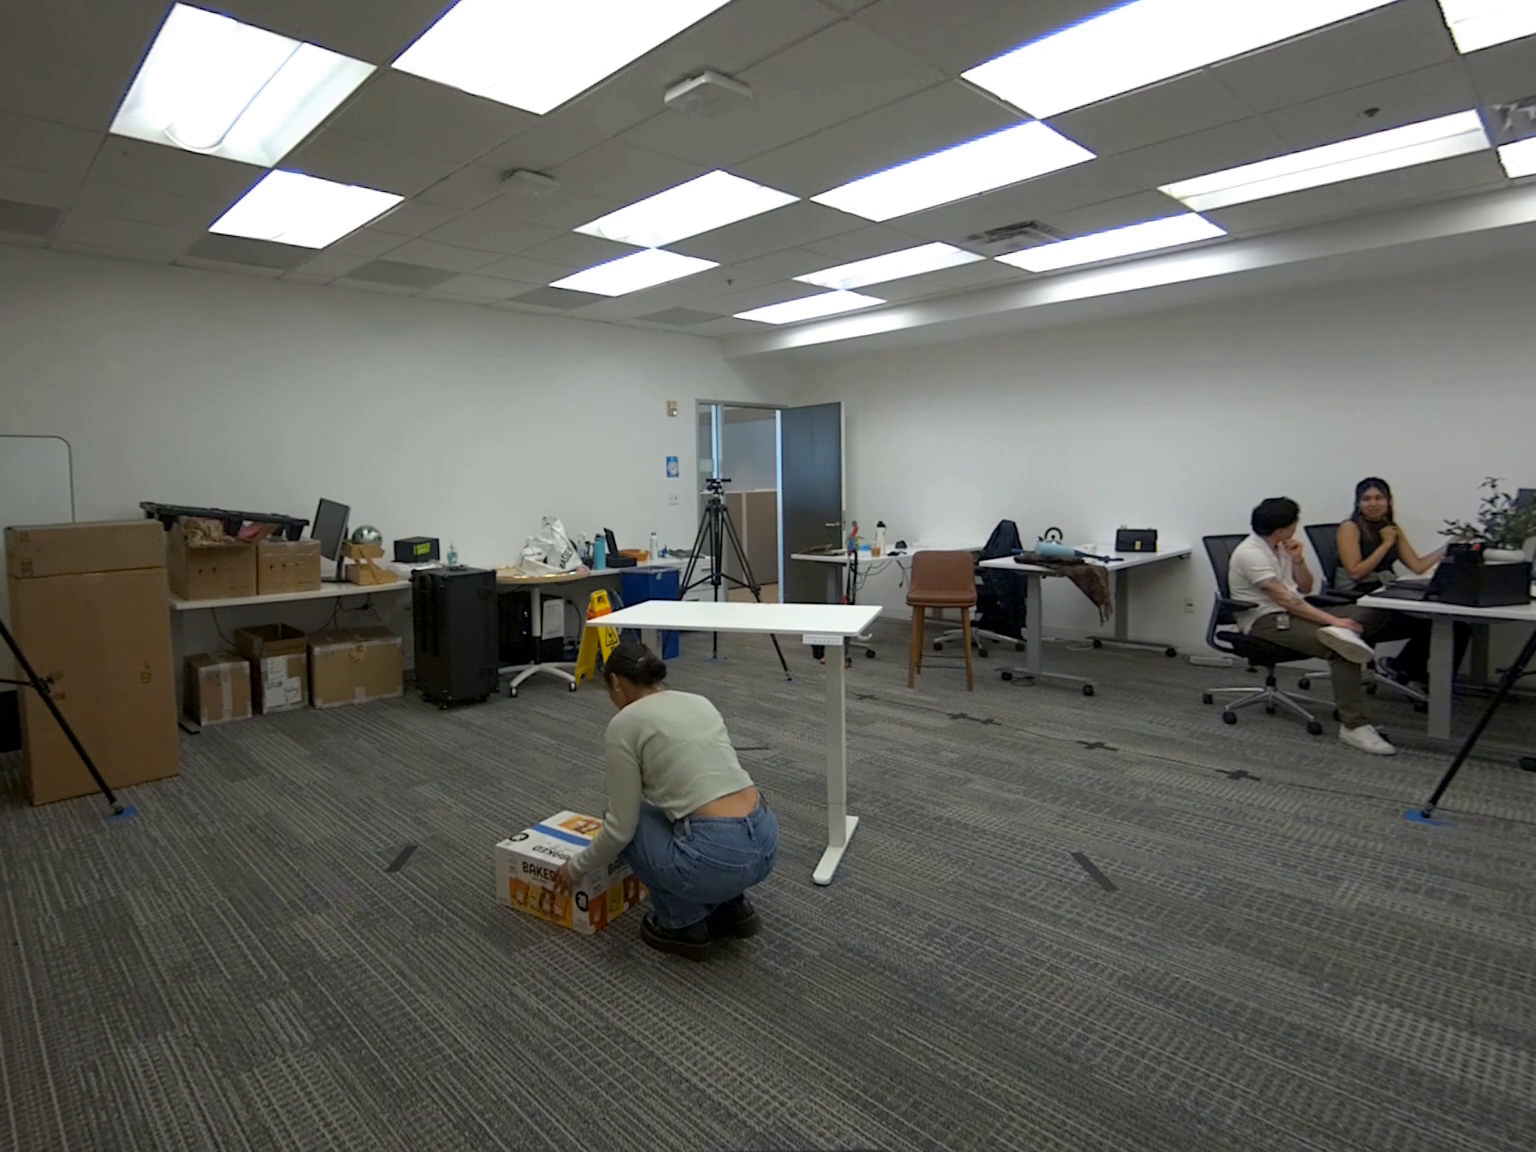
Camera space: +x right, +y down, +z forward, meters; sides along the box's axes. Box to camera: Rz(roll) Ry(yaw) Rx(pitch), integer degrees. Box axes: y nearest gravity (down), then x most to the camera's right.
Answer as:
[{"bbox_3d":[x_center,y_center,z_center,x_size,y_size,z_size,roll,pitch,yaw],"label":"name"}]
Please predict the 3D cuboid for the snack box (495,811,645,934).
[{"bbox_3d":[-0.645,0.983,2.869,0.416,0.205,0.333,3,7,31],"label":"snack box"}]
